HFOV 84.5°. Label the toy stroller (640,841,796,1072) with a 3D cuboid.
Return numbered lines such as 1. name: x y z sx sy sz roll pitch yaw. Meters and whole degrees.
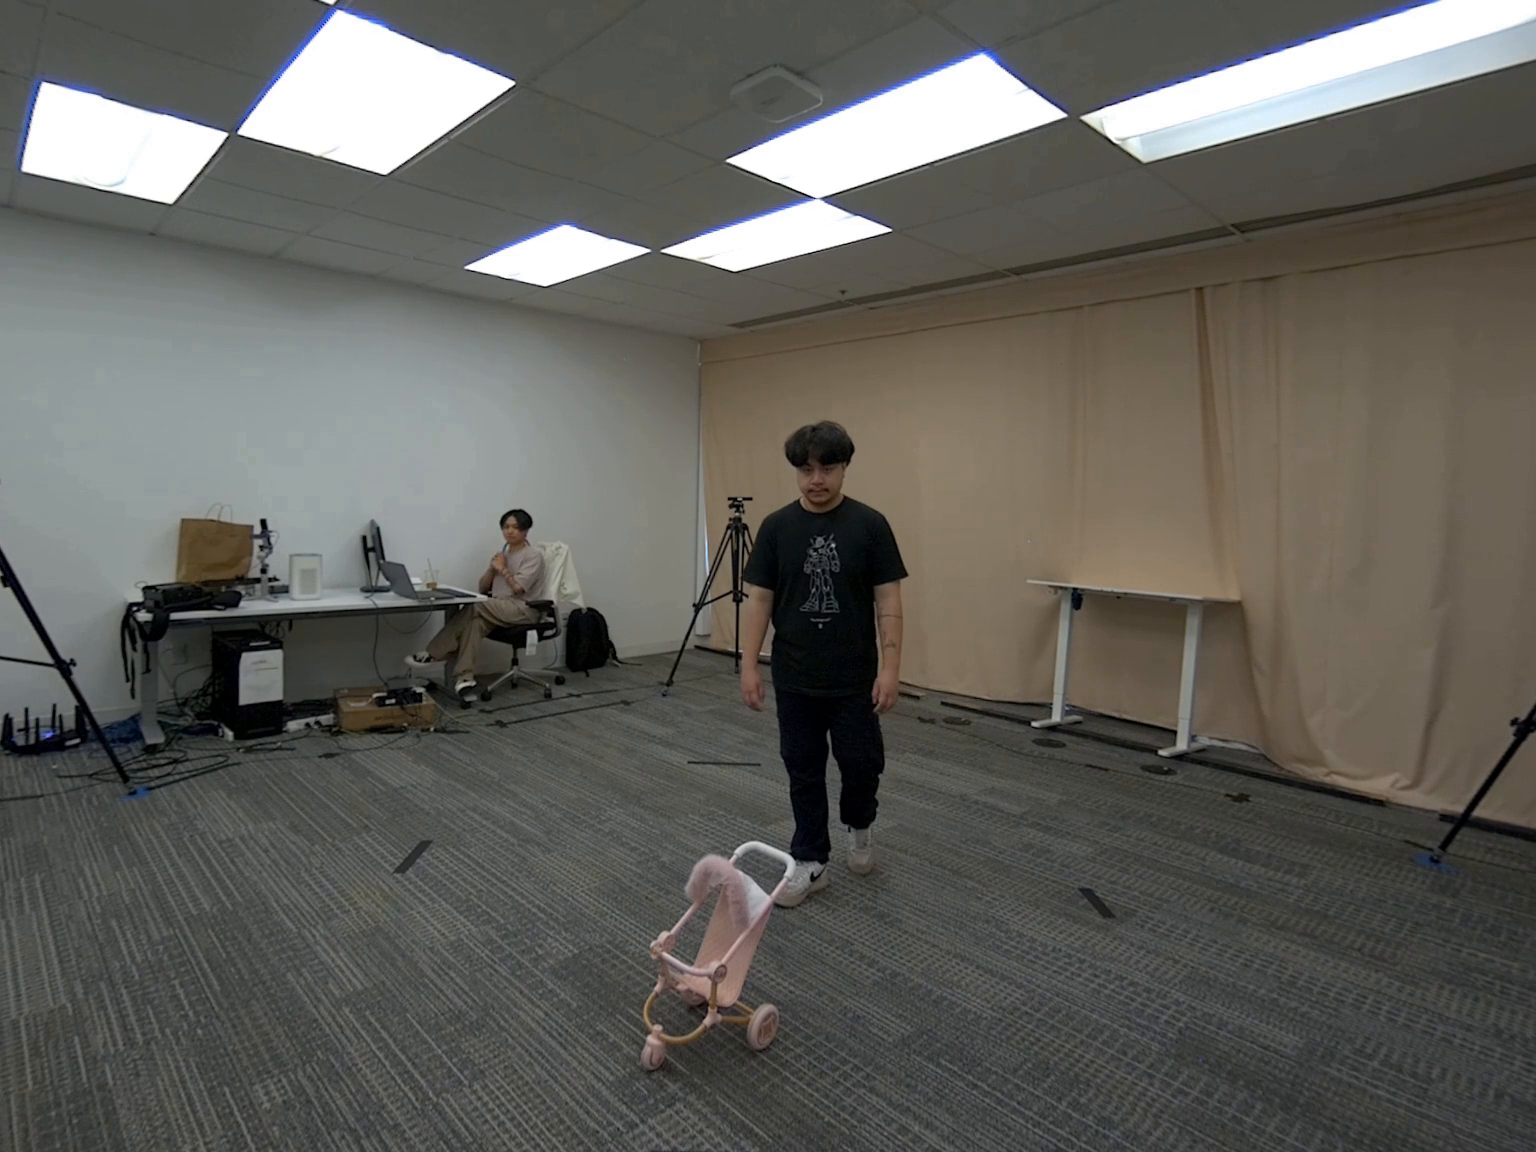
1. toy stroller: -0.148 0.969 2.168 0.331 0.537 0.289 20 -9 -41
